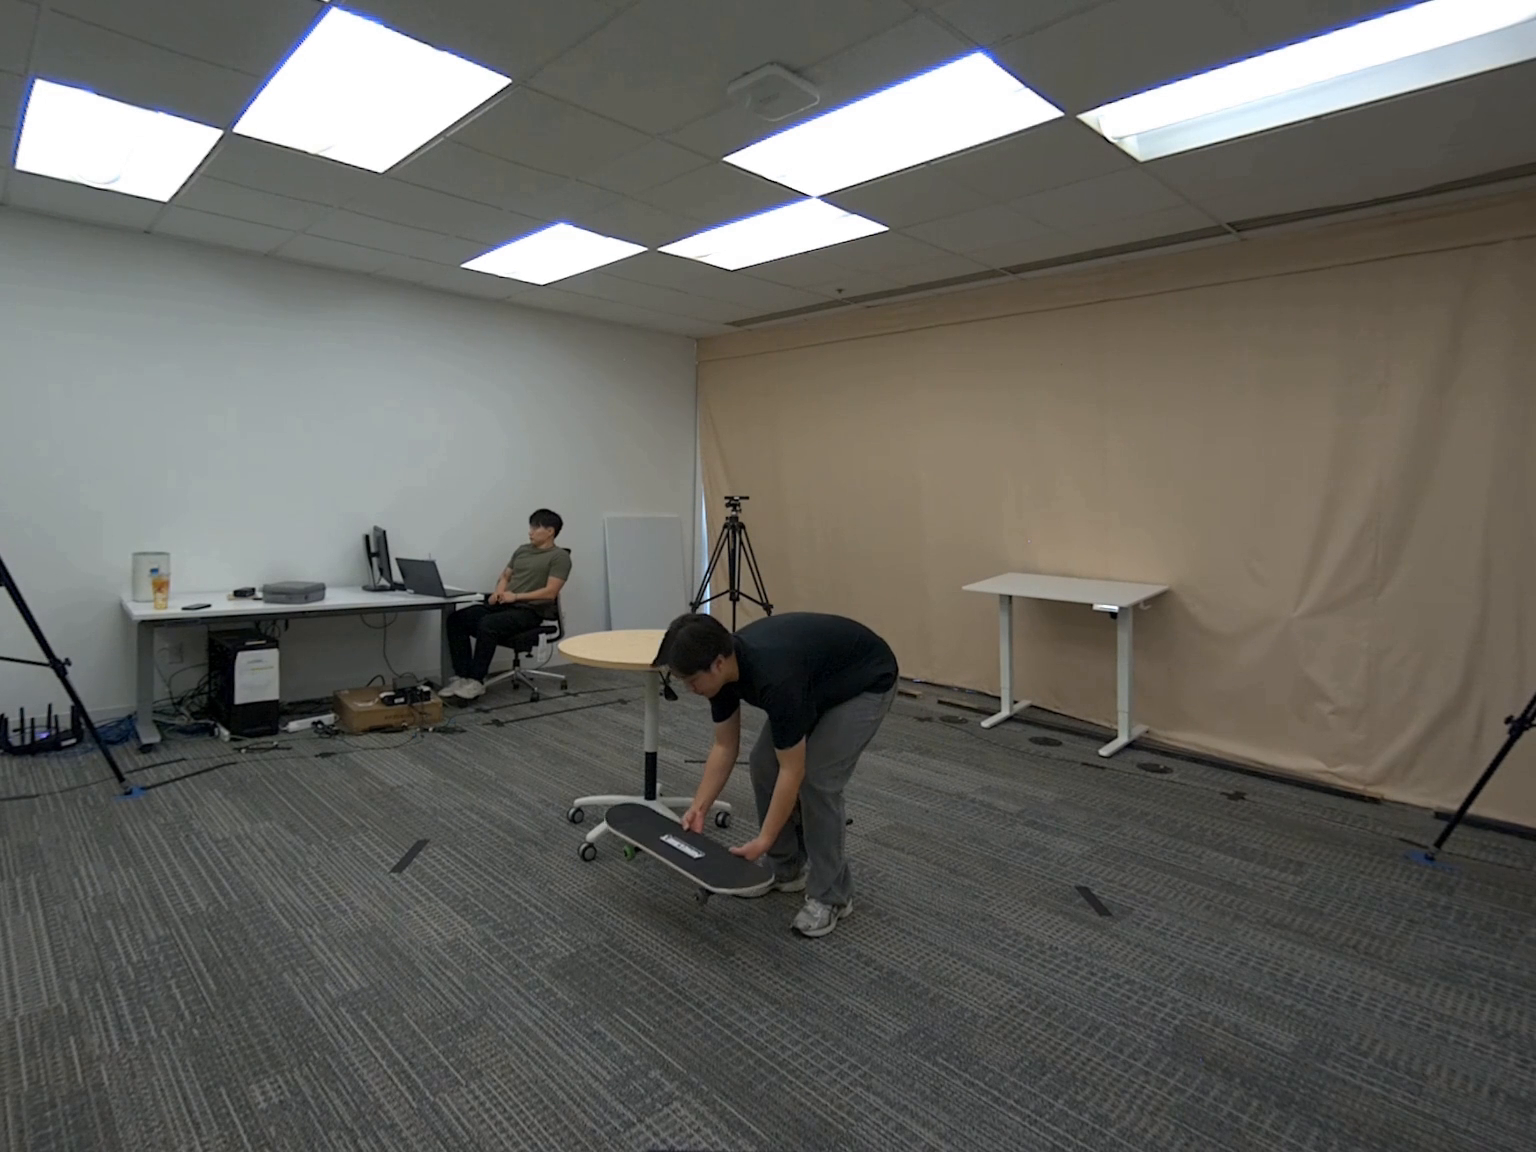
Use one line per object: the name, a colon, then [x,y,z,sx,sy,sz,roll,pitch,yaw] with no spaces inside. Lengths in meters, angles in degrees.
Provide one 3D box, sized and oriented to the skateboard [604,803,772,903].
skateboard: [-0.275,0.886,2.655,0.189,0.110,0.805,-7,8,-39]
